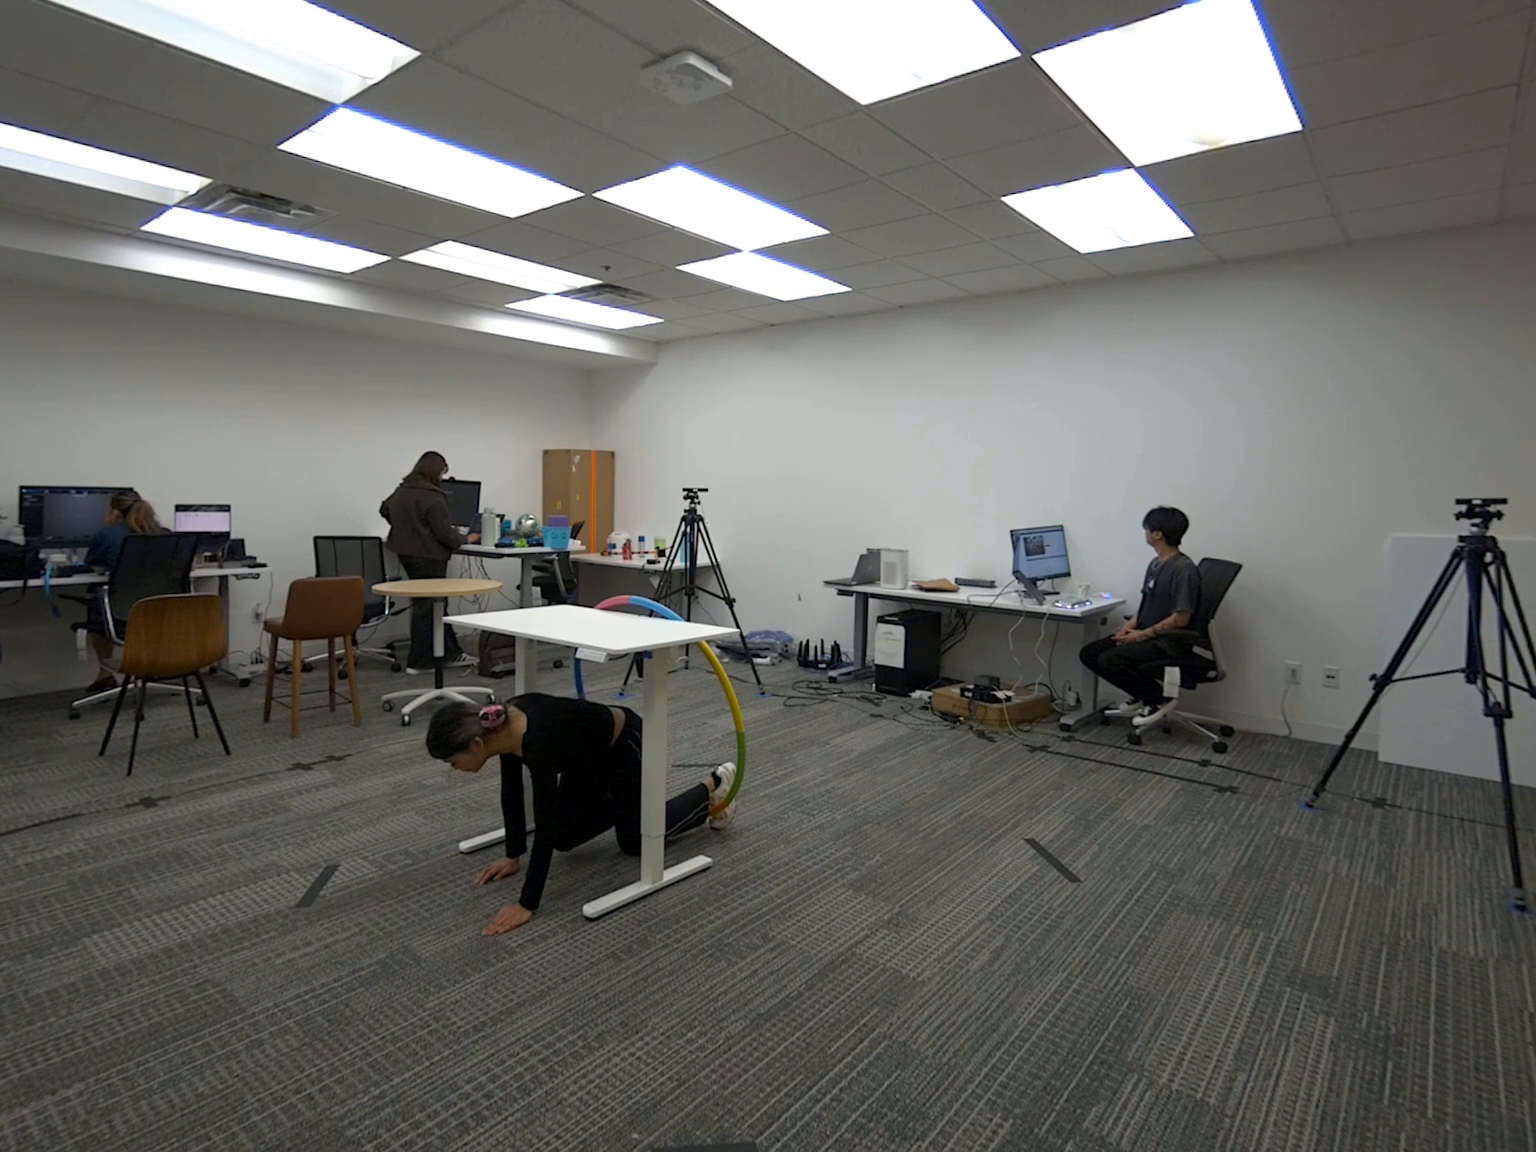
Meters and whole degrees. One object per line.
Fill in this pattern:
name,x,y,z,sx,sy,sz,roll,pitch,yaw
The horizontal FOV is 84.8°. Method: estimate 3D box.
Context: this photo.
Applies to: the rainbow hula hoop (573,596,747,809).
rainbow hula hoop,-0.486,0.552,3.532,1.011,0.963,0.035,4,19,40
